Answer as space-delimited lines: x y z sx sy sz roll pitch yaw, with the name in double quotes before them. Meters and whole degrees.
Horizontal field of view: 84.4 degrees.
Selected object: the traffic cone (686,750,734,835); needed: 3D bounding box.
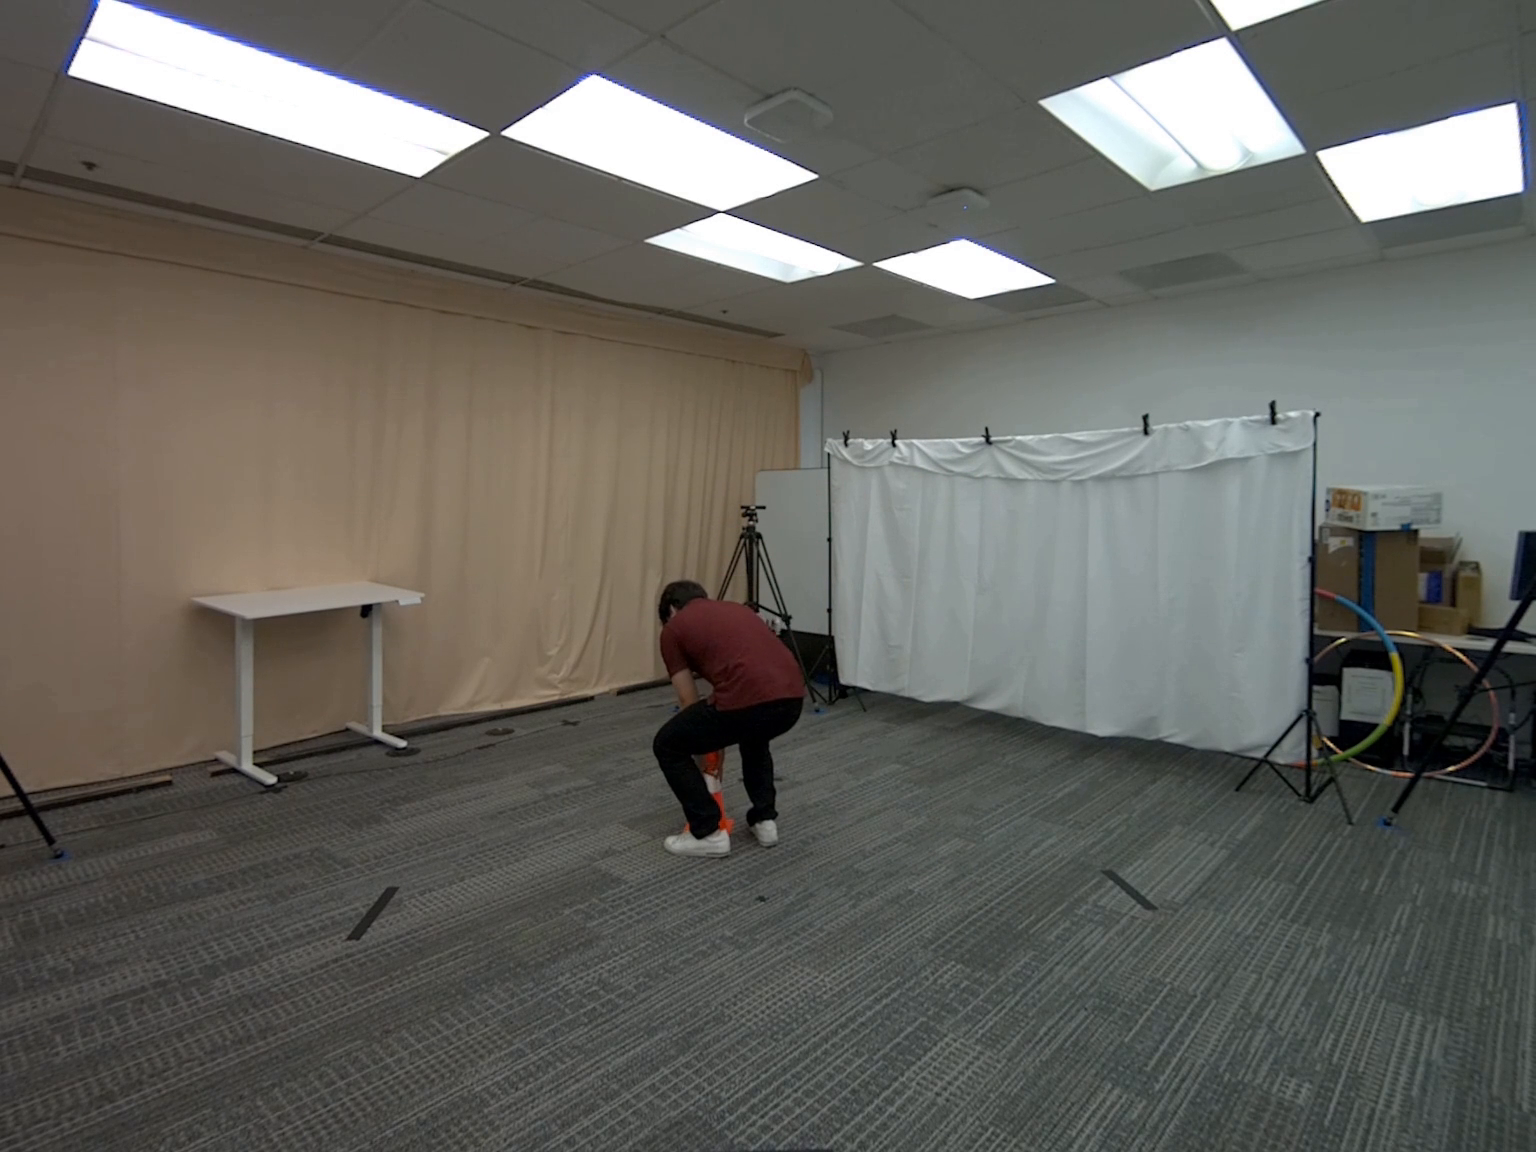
"traffic cone" -0.268 0.900 3.649 0.207 0.383 0.201 -2 3 10
